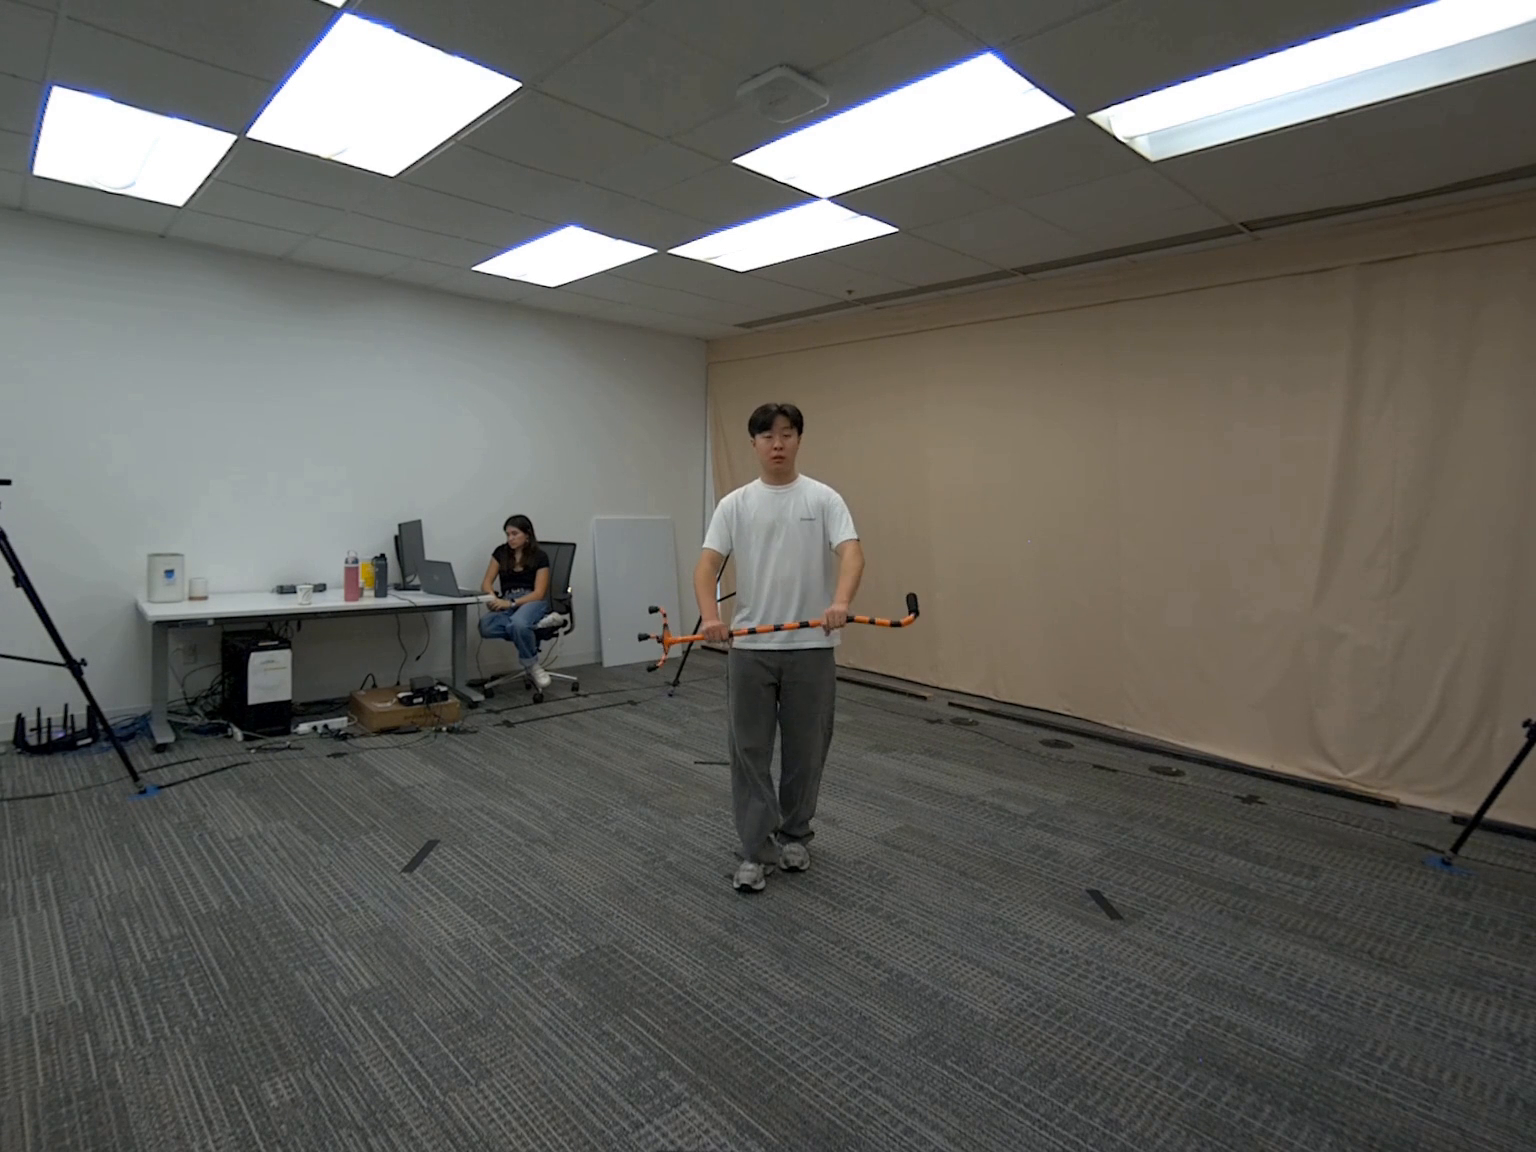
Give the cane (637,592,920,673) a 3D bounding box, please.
[{"bbox_3d":[0.030,0.174,2.784,0.916,0.148,0.209,-6,30,12],"label":"cane"}]
